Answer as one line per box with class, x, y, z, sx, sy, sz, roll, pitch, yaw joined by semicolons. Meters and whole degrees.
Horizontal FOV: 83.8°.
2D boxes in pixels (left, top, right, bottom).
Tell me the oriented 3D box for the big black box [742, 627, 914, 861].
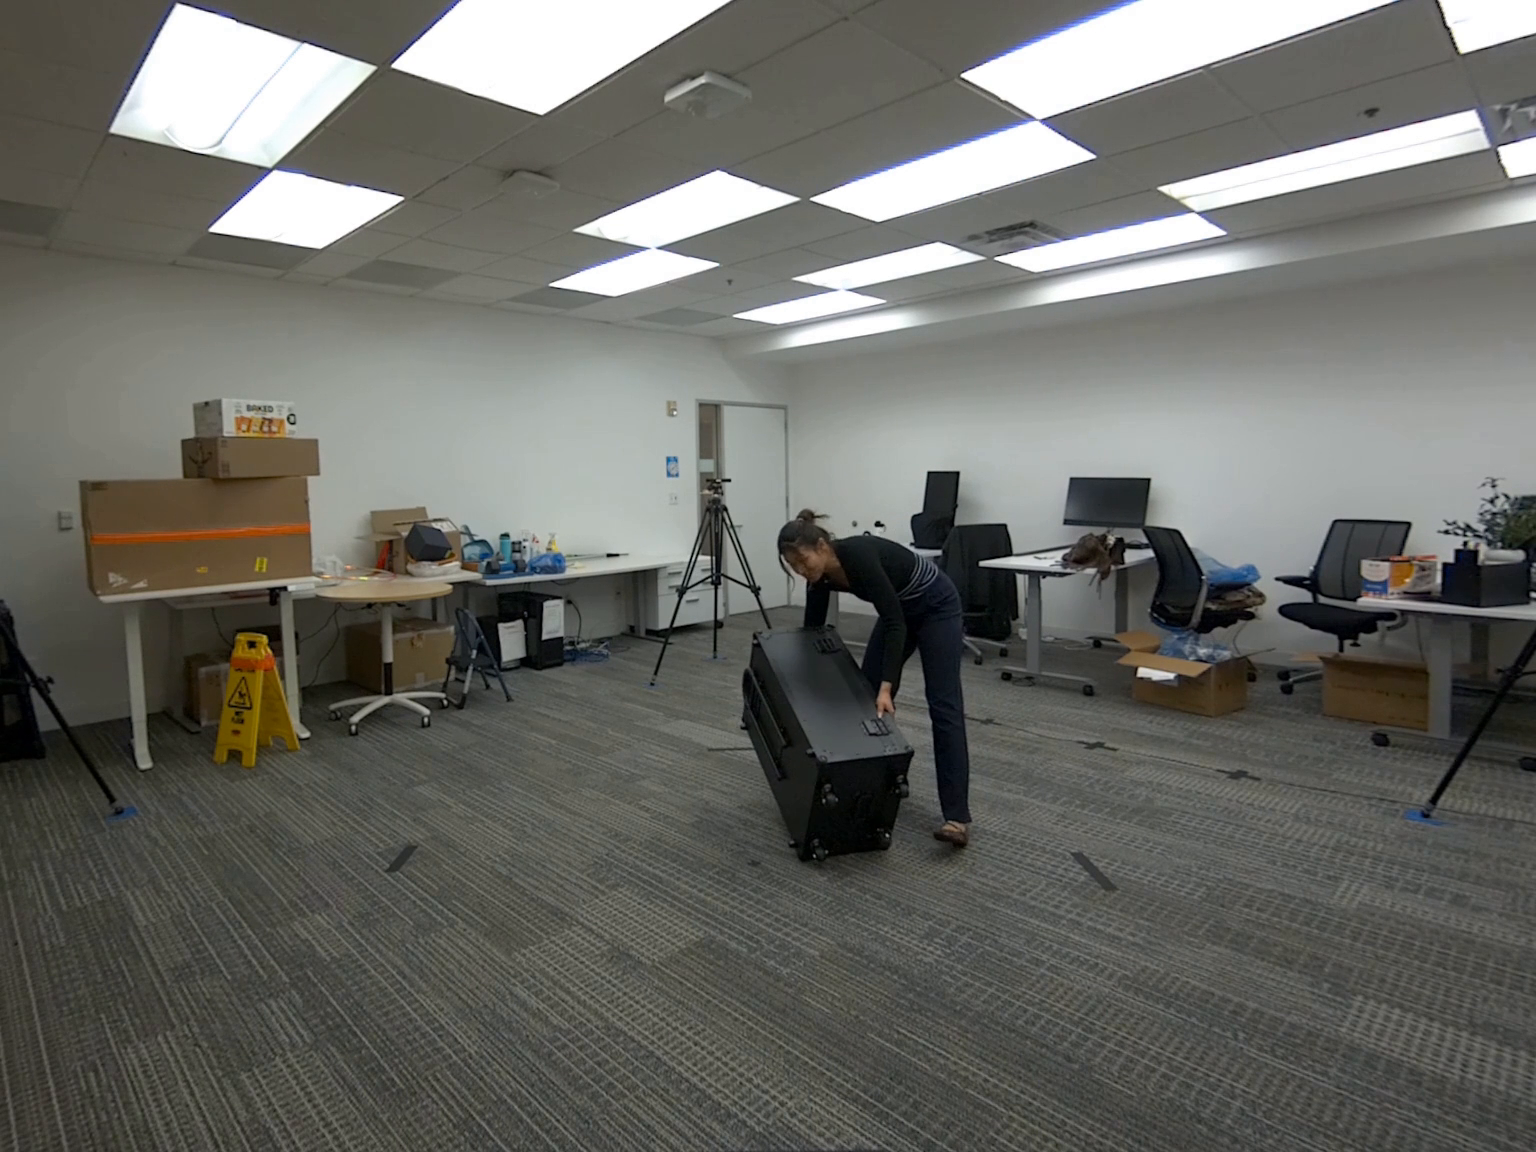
big black box;0.197;0.642;3.335;0.390;0.511;0.892;-4;32;-18
